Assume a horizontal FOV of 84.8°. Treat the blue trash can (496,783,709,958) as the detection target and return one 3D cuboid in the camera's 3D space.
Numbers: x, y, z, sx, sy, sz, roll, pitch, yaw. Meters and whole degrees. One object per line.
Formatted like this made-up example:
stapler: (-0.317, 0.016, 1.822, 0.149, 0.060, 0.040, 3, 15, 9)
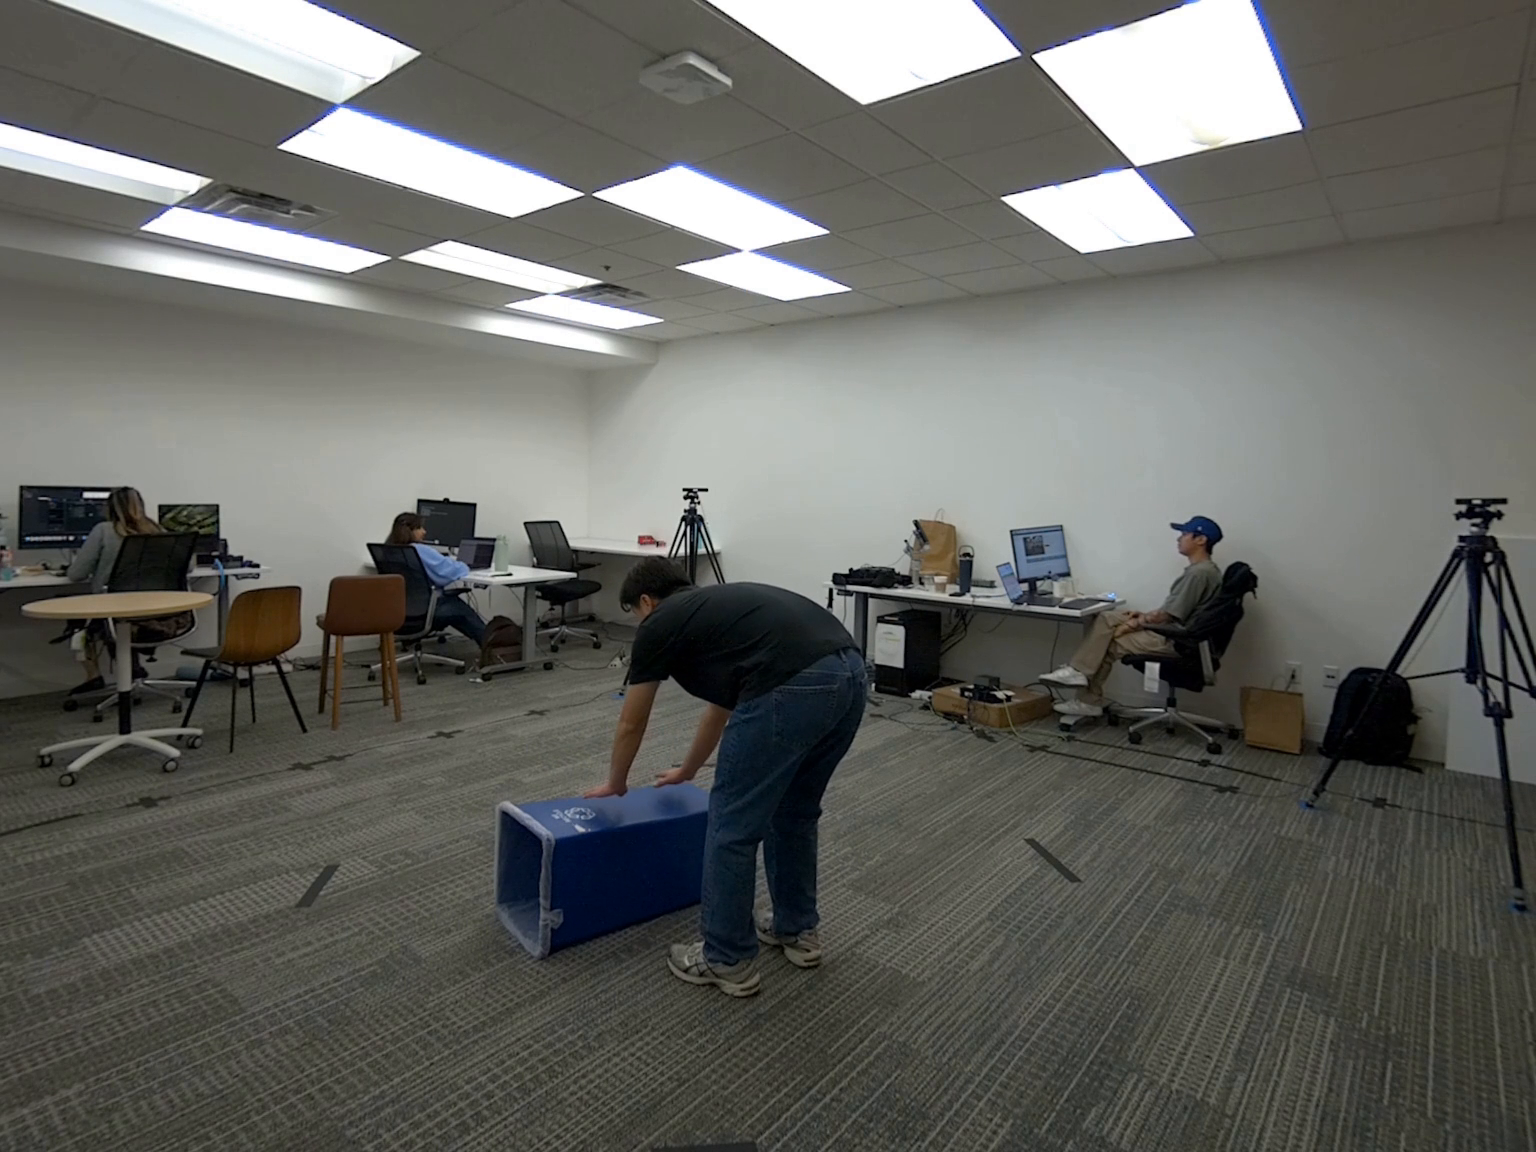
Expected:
blue trash can: (-0.511, 0.925, 2.829, 0.691, 0.377, 0.387, 1, 3, -38)
